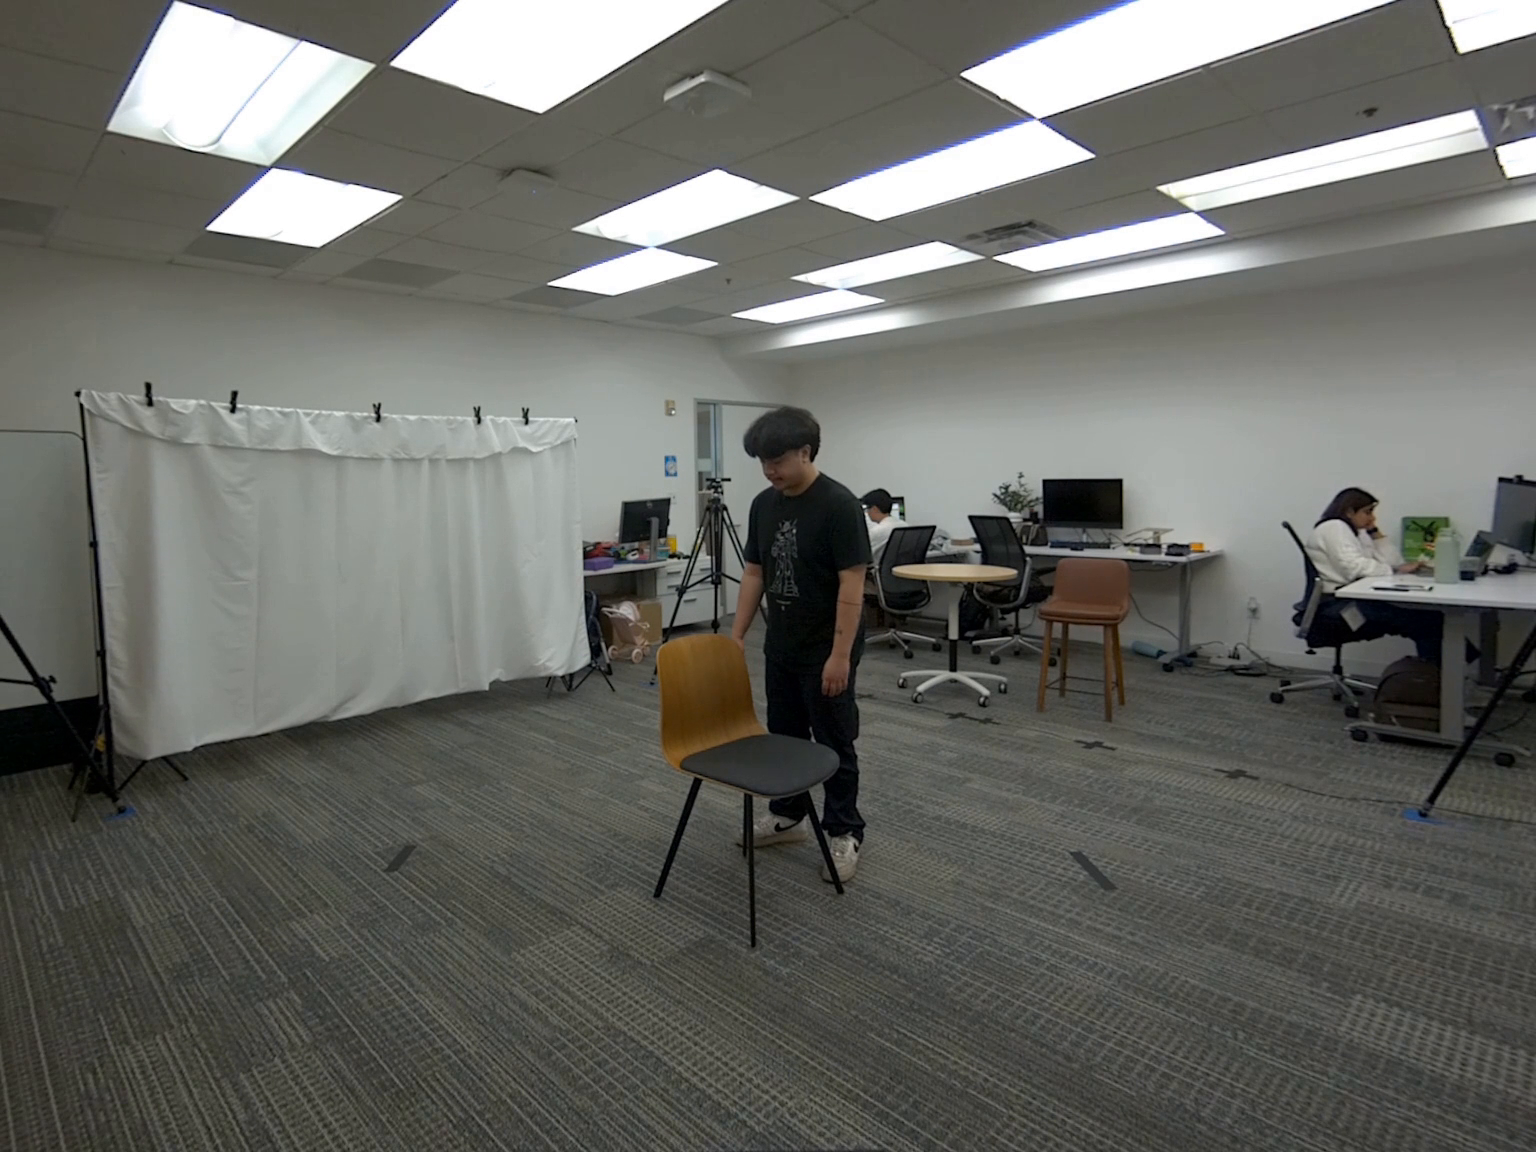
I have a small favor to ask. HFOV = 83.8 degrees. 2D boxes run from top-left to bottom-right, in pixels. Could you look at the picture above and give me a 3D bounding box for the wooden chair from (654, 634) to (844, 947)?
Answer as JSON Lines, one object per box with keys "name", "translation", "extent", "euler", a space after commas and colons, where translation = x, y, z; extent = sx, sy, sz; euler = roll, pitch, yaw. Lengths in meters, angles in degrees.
{"name": "wooden chair", "translation": [-0.067, 0.648, 2.820], "extent": [0.538, 0.877, 0.465], "euler": [-3, 1, 43]}
